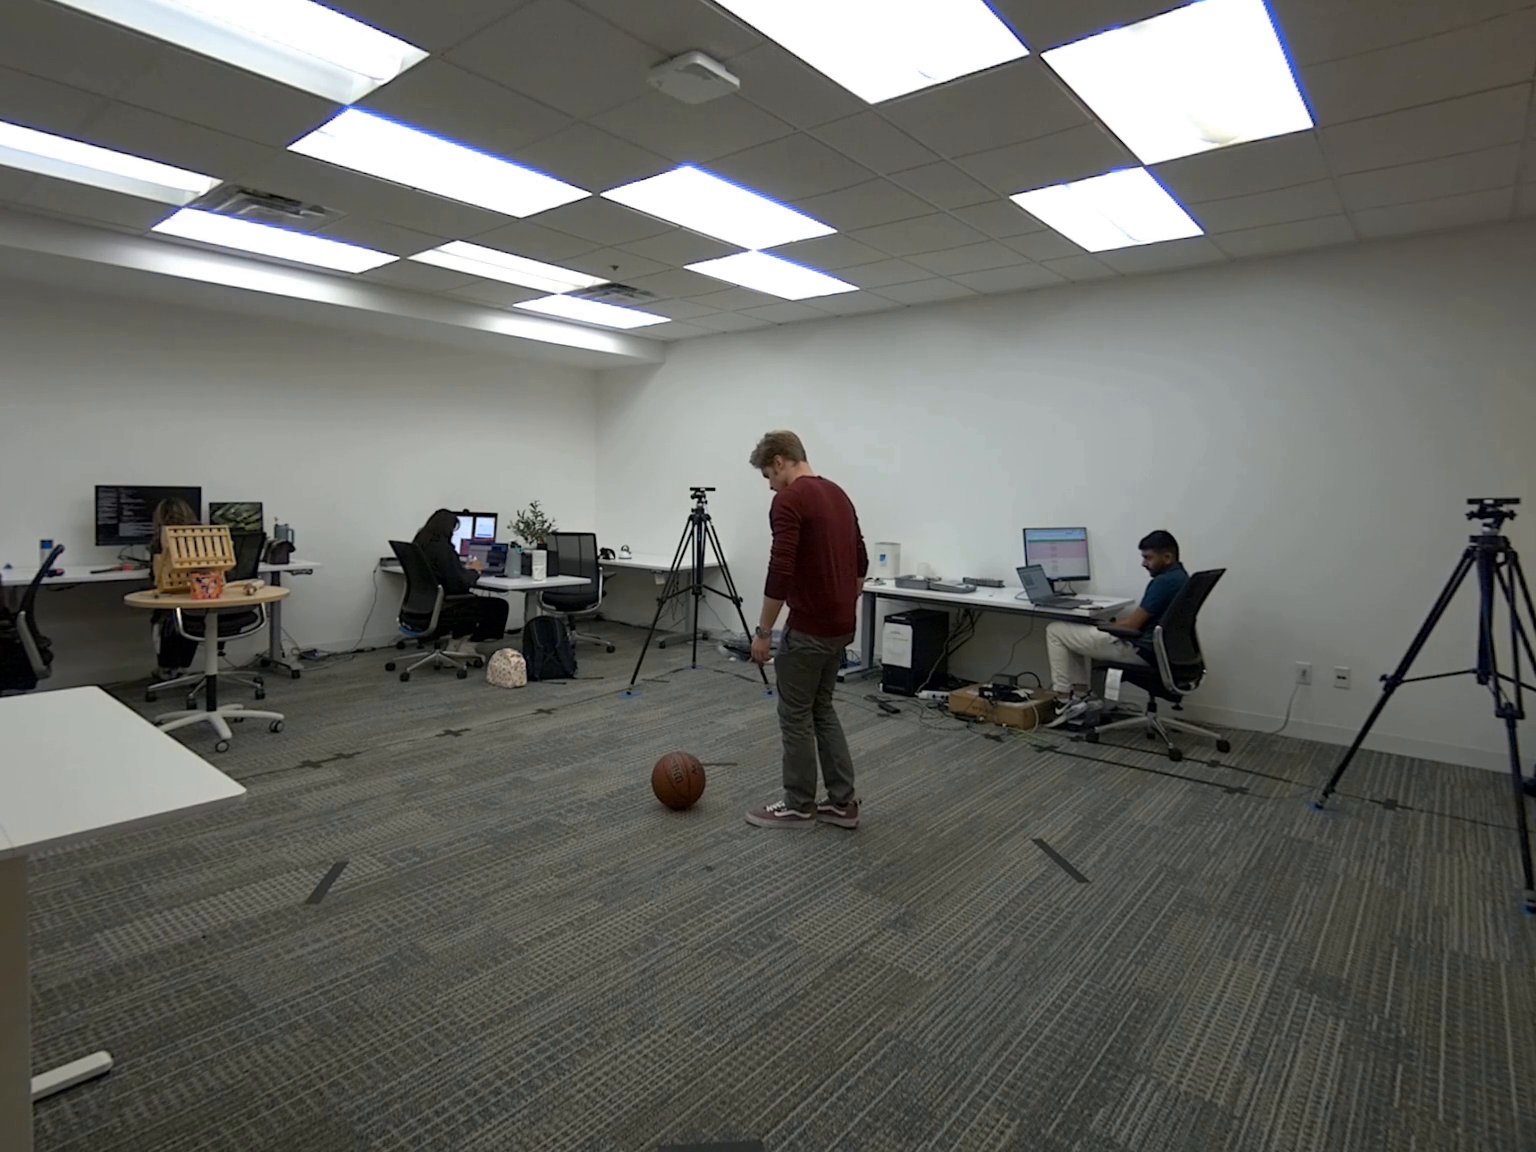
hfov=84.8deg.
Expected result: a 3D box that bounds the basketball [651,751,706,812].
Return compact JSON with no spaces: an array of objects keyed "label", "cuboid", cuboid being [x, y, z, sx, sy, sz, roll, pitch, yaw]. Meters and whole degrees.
[{"label":"basketball","cuboid":[-0.397,0.887,3.716,0.235,0.235,0.237,1,4,-2]}]
